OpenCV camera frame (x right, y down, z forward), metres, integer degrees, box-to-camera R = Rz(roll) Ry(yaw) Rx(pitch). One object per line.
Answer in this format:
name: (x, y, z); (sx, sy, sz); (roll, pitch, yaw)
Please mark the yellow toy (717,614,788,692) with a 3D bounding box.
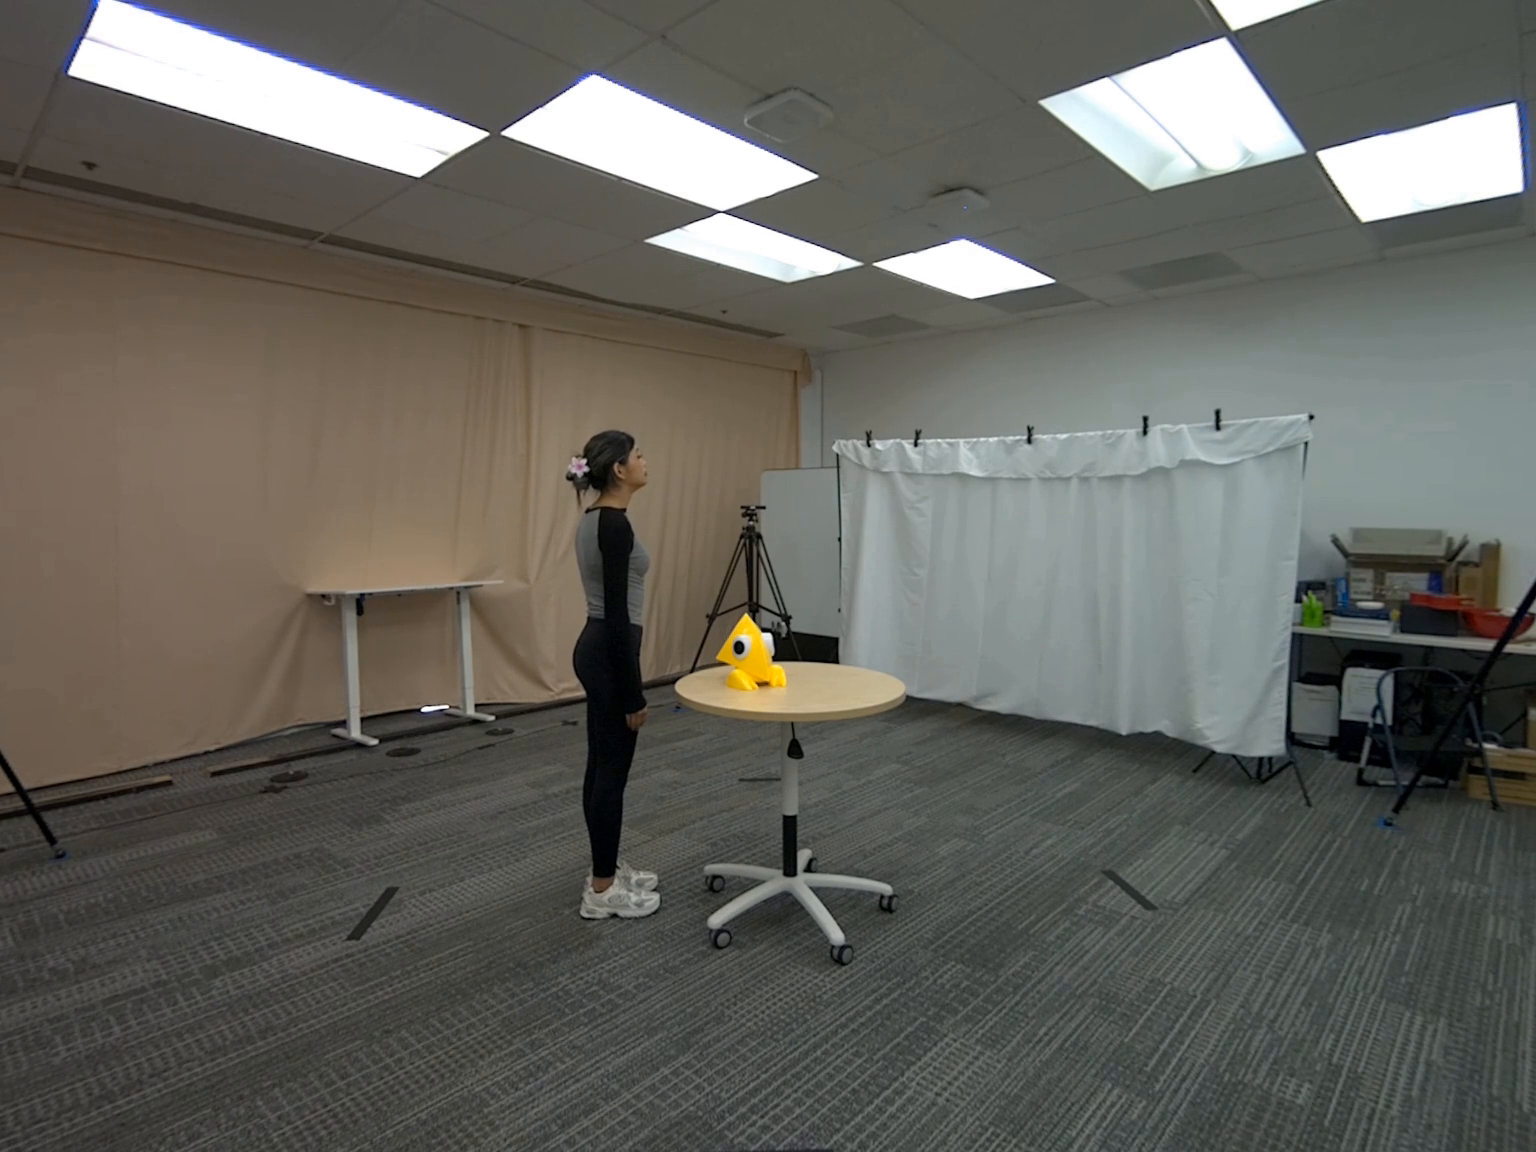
yellow toy: (-0.040, 0.250, 2.834); (0.200, 0.230, 0.198); (-3, 5, -27)
